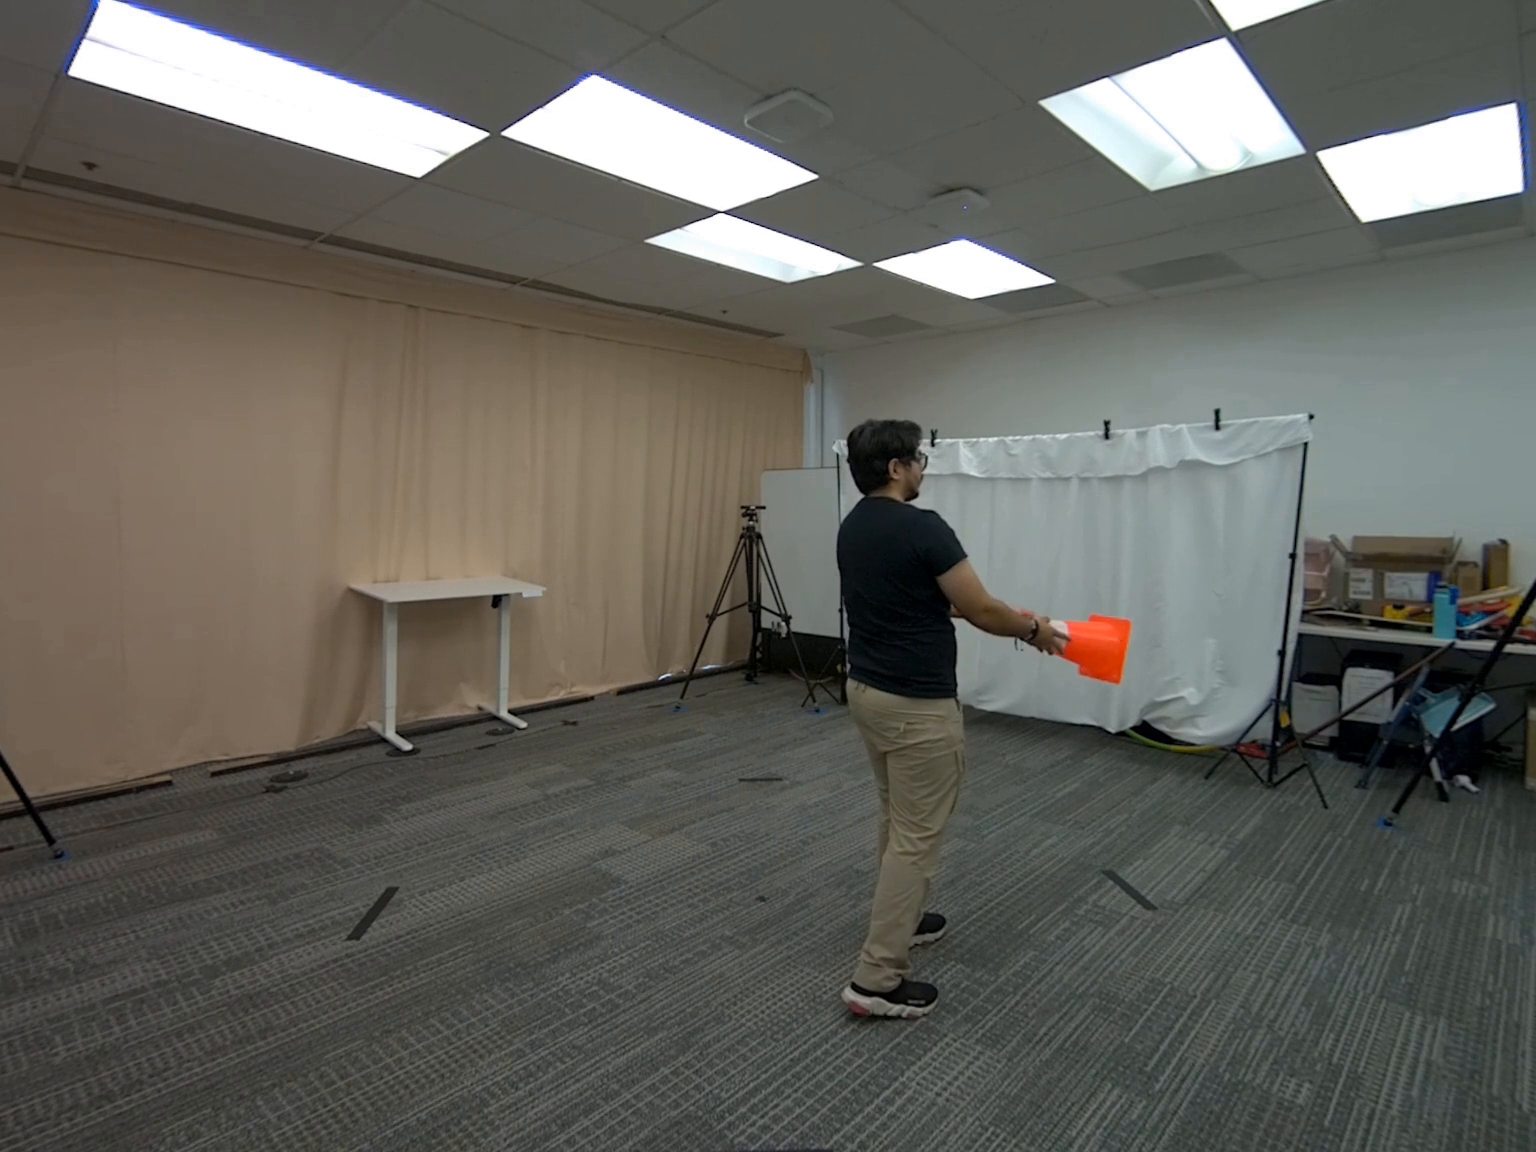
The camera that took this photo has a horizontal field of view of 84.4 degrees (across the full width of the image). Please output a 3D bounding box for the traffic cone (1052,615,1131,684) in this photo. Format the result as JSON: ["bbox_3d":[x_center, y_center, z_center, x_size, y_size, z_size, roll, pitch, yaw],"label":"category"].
[{"bbox_3d":[0.866,0.183,2.583,0.379,0.205,0.205,11,-4,-10],"label":"traffic cone"}]
